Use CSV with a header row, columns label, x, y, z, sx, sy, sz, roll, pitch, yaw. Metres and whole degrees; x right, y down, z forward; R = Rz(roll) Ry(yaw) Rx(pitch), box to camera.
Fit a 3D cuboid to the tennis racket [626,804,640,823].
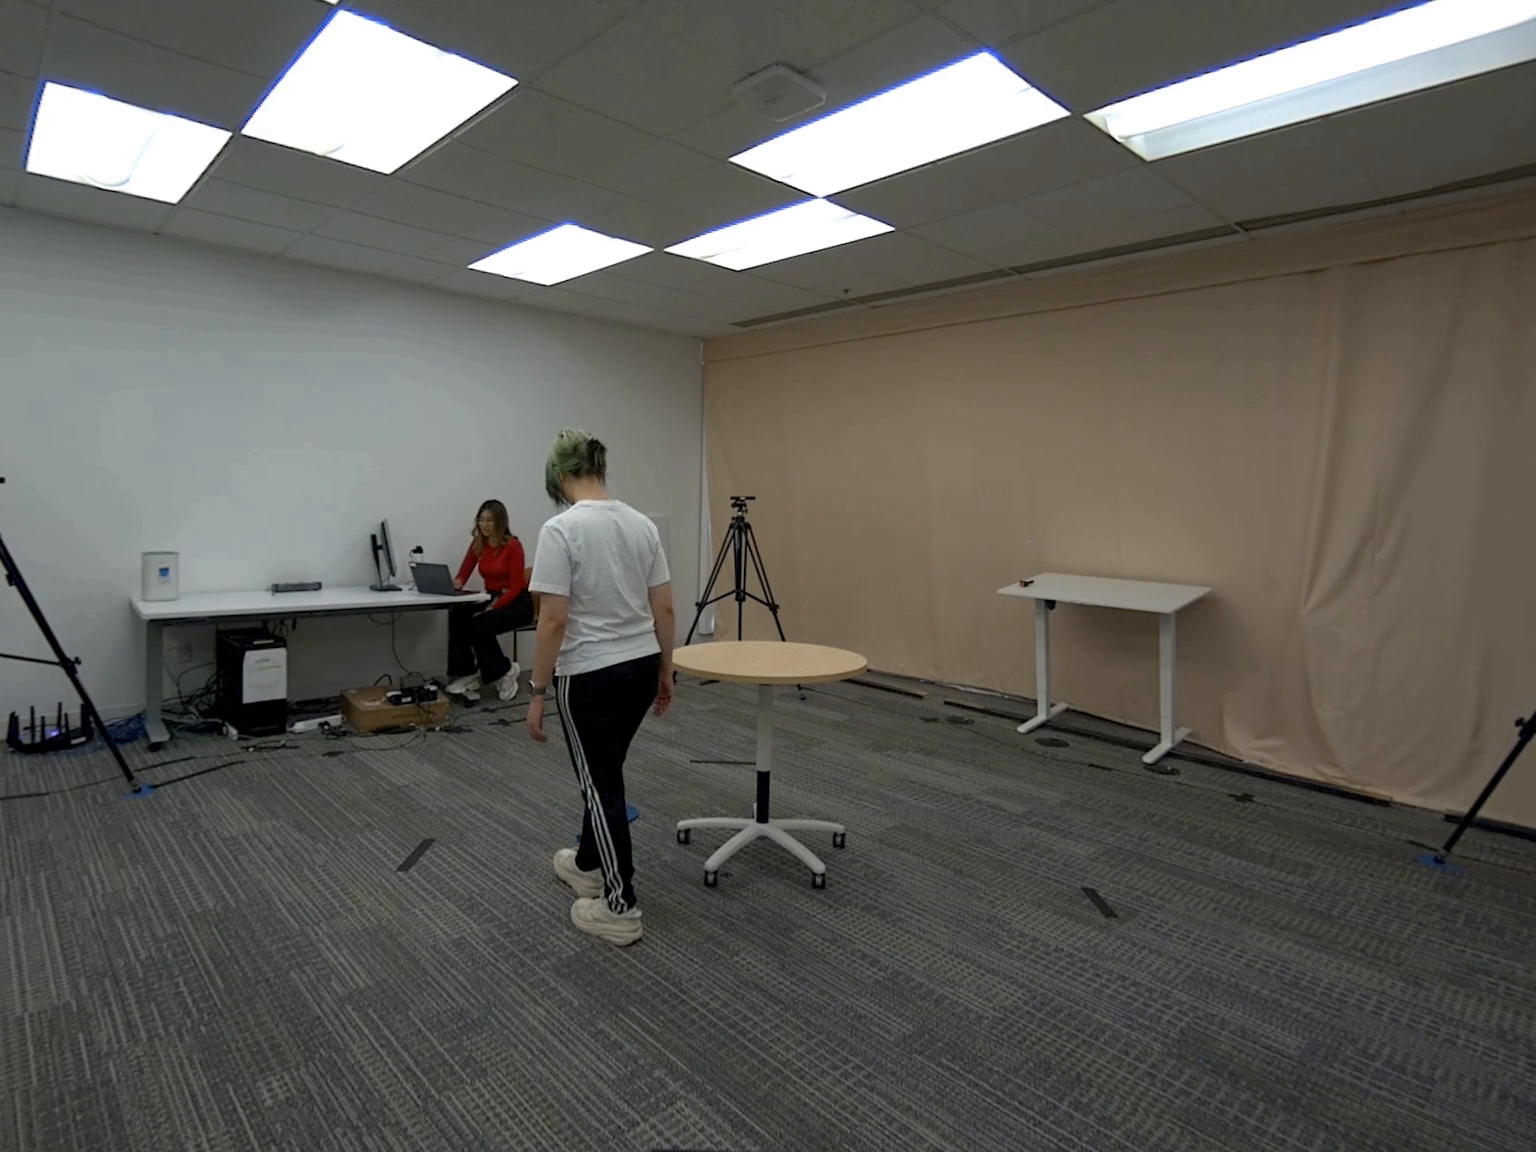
label,x,y,z,sx,sy,sz,roll,pitch,yaw
tennis racket,-0.699,1.037,3.574,0.216,0.032,0.428,3,4,15
